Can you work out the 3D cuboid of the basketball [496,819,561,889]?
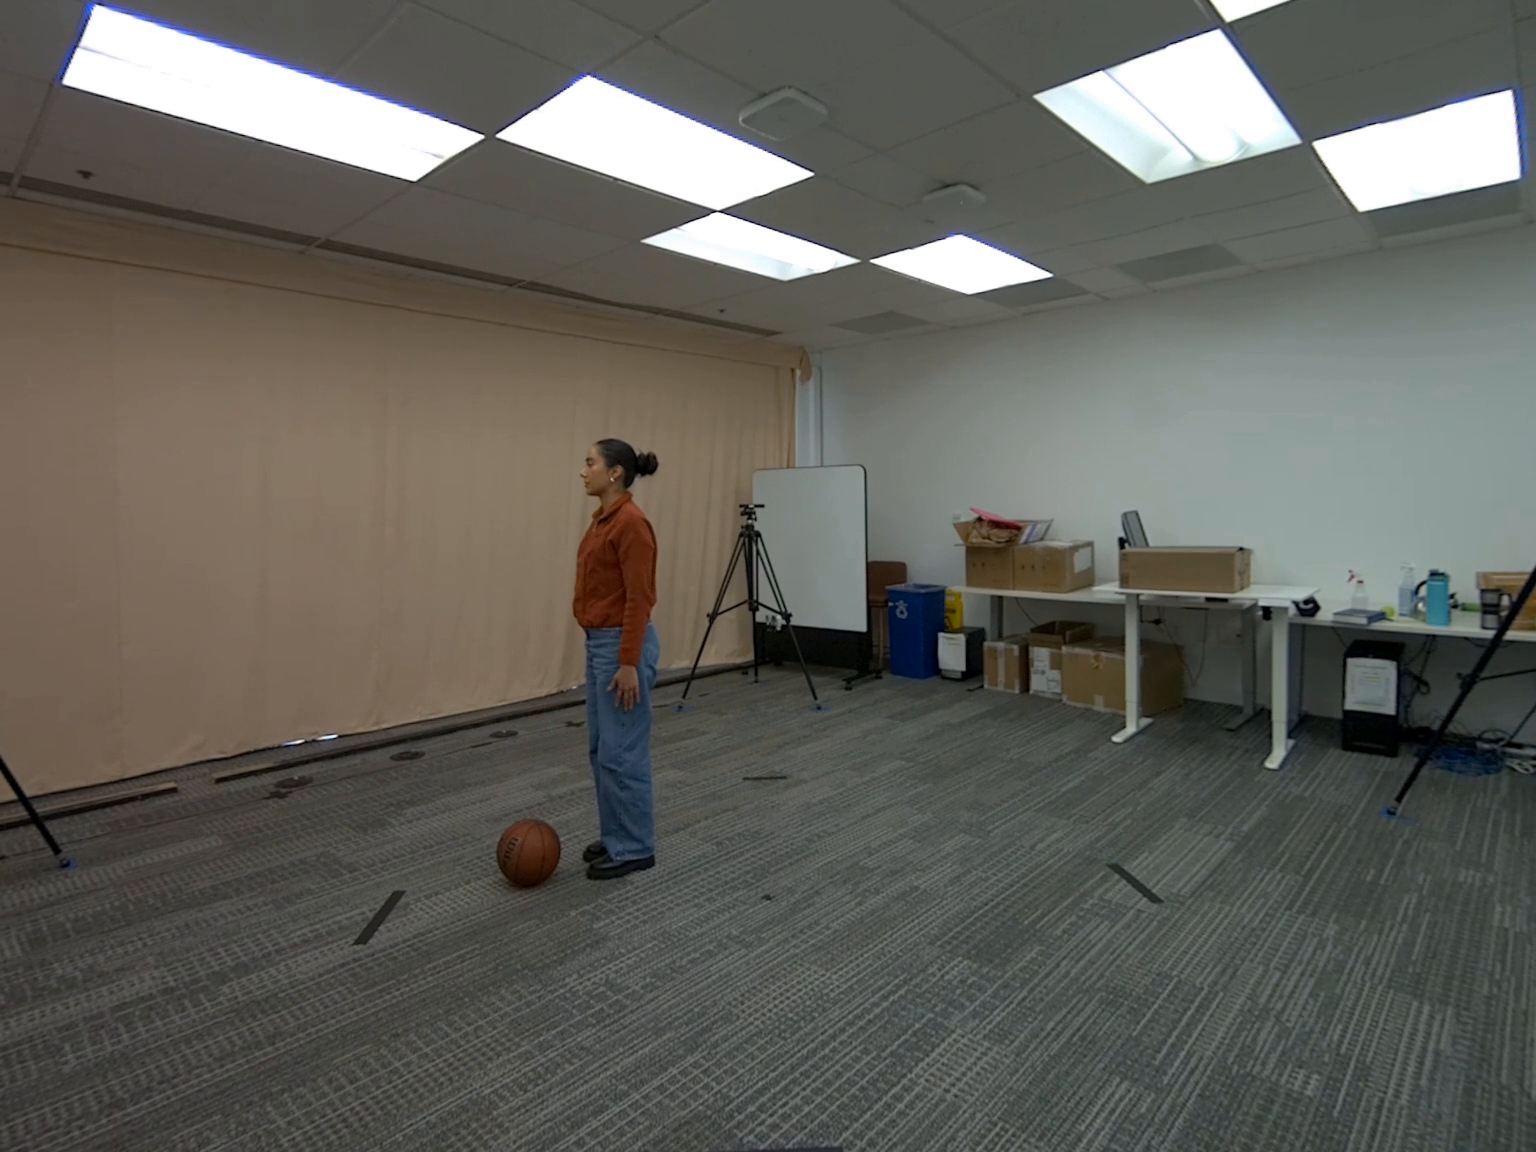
[{"bbox_3d":[-0.890,1.026,3.145,0.236,0.235,0.237,-1,4,-2],"label":"basketball"}]
